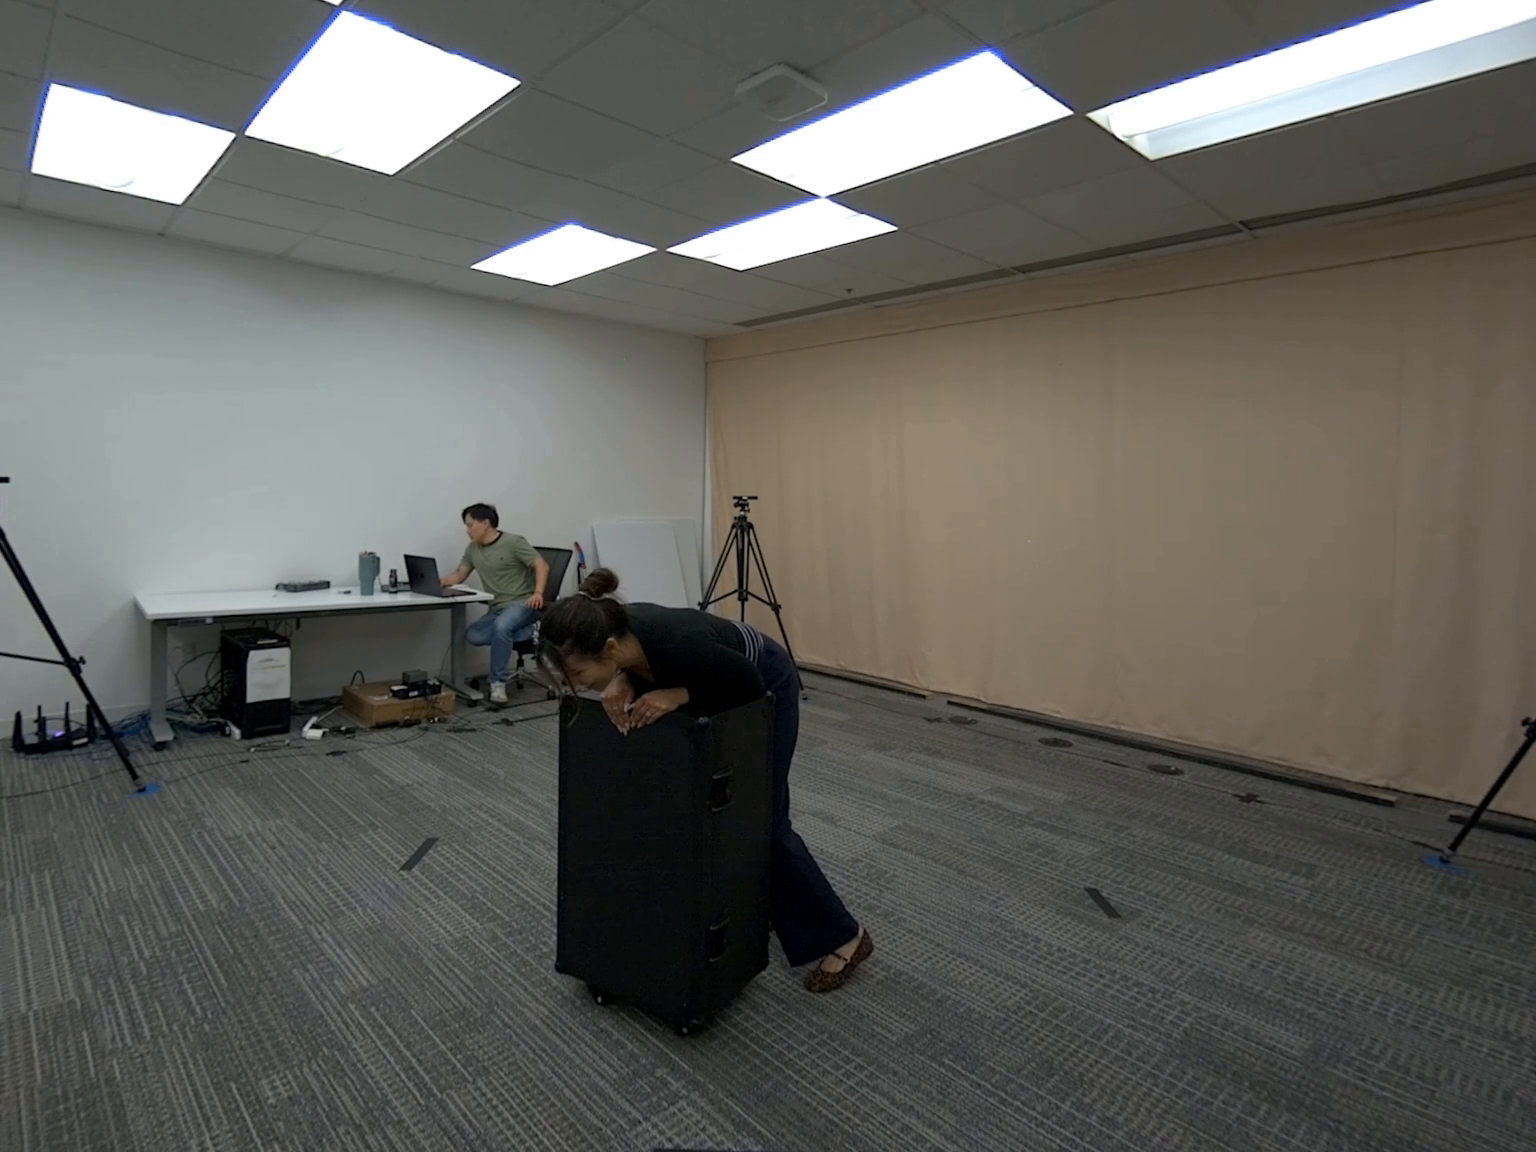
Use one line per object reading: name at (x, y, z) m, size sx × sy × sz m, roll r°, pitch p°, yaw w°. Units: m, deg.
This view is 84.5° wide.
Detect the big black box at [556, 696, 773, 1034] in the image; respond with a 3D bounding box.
big black box at (-0.295, 0.750, 2.338) m, size 0.533 × 0.860 × 0.388 m, roll 3°, pitch 3°, yaw 30°
